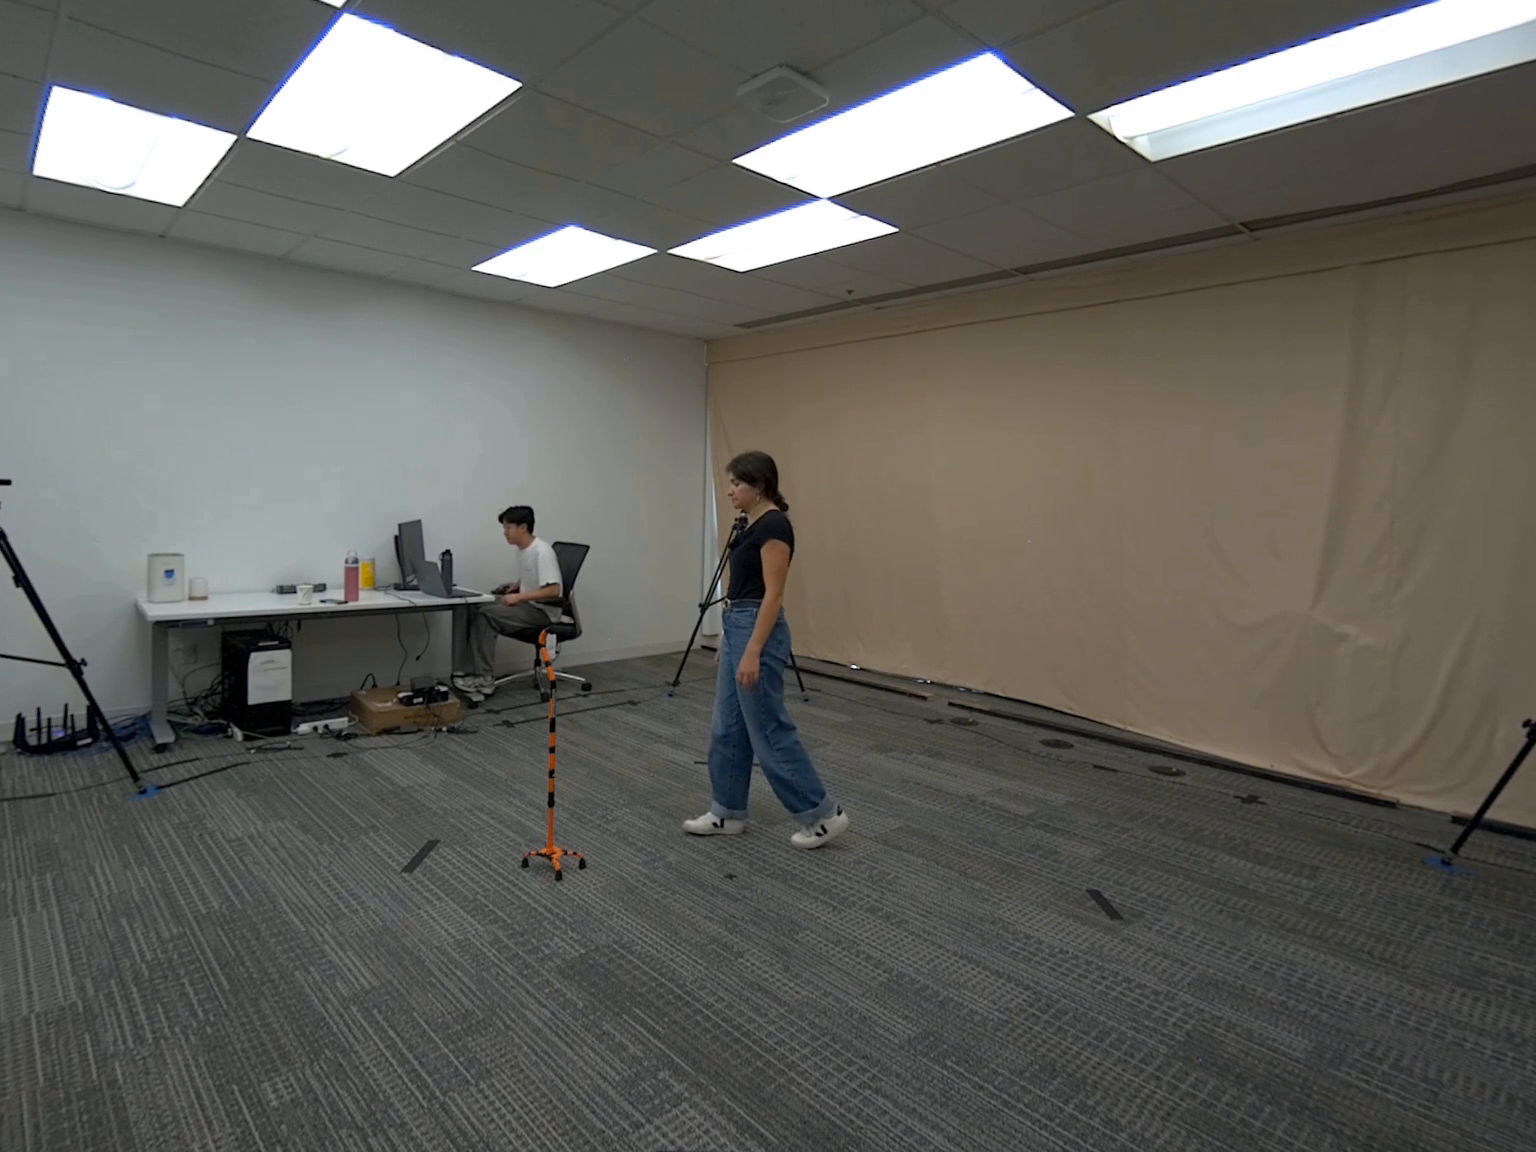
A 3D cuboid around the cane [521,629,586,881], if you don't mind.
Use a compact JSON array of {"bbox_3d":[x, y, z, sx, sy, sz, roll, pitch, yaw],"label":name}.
[{"bbox_3d":[-0.801,0.645,3.114,0.211,0.905,0.148,3,4,32],"label":"cane"}]
